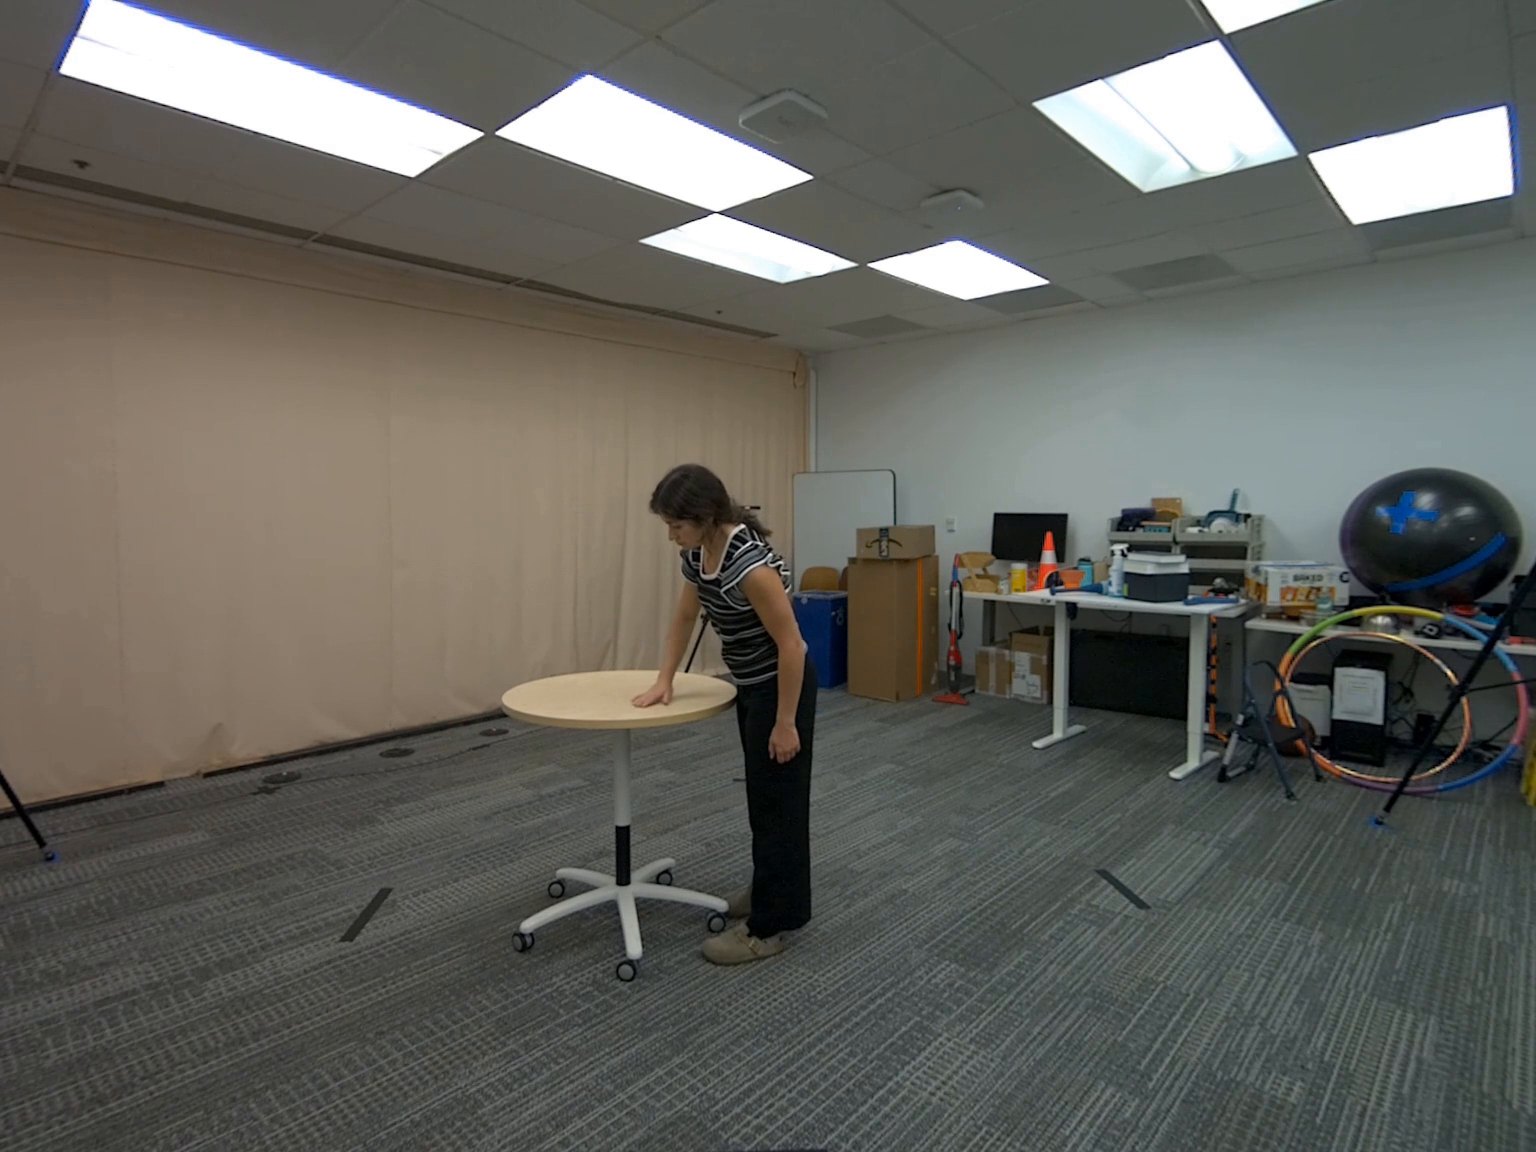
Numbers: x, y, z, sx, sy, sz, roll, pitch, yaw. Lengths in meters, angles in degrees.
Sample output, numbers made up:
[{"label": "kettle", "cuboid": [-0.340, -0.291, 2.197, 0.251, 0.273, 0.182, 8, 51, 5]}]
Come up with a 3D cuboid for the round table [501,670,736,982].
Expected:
[{"label": "round table", "cuboid": [-0.493, 0.779, 2.790, 0.763, 0.793, 0.766, -1, 3, -2]}]
